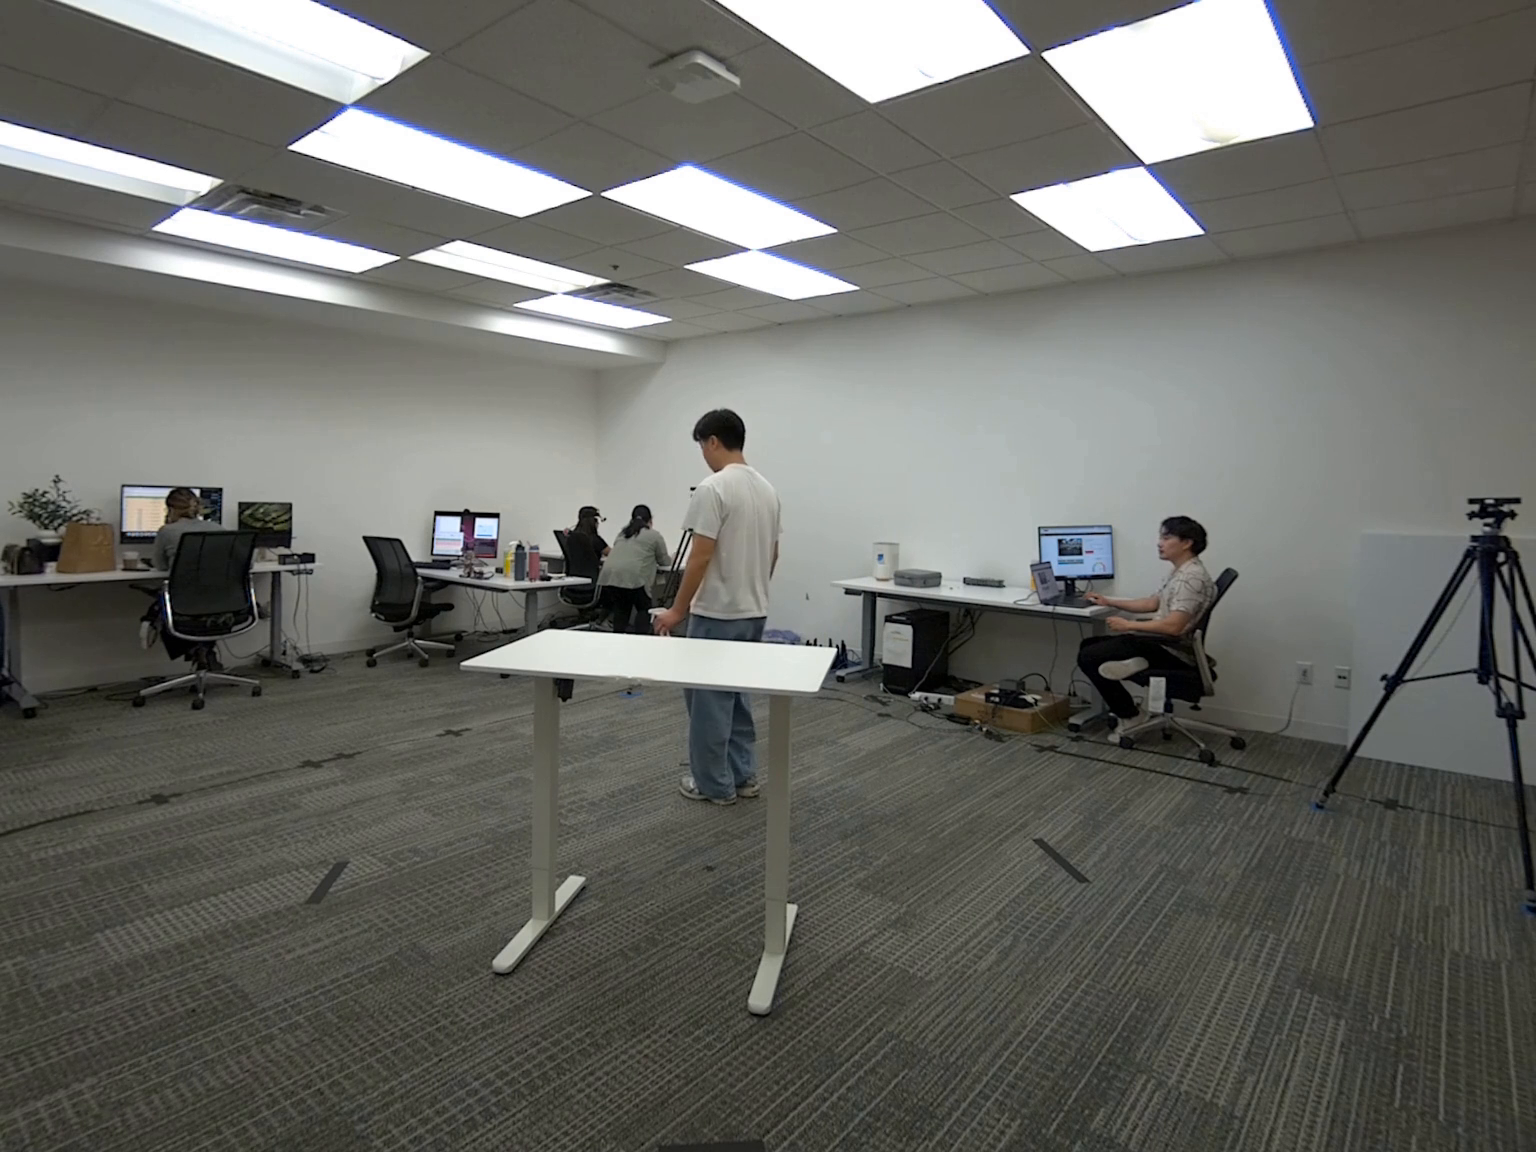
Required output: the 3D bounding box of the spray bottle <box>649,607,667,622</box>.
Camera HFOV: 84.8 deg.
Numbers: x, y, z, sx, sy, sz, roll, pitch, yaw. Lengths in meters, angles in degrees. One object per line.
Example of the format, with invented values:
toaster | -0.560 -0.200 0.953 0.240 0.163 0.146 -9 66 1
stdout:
spray bottle | -0.432 0.281 3.575 0.090 0.298 0.087 -4 -2 -1
